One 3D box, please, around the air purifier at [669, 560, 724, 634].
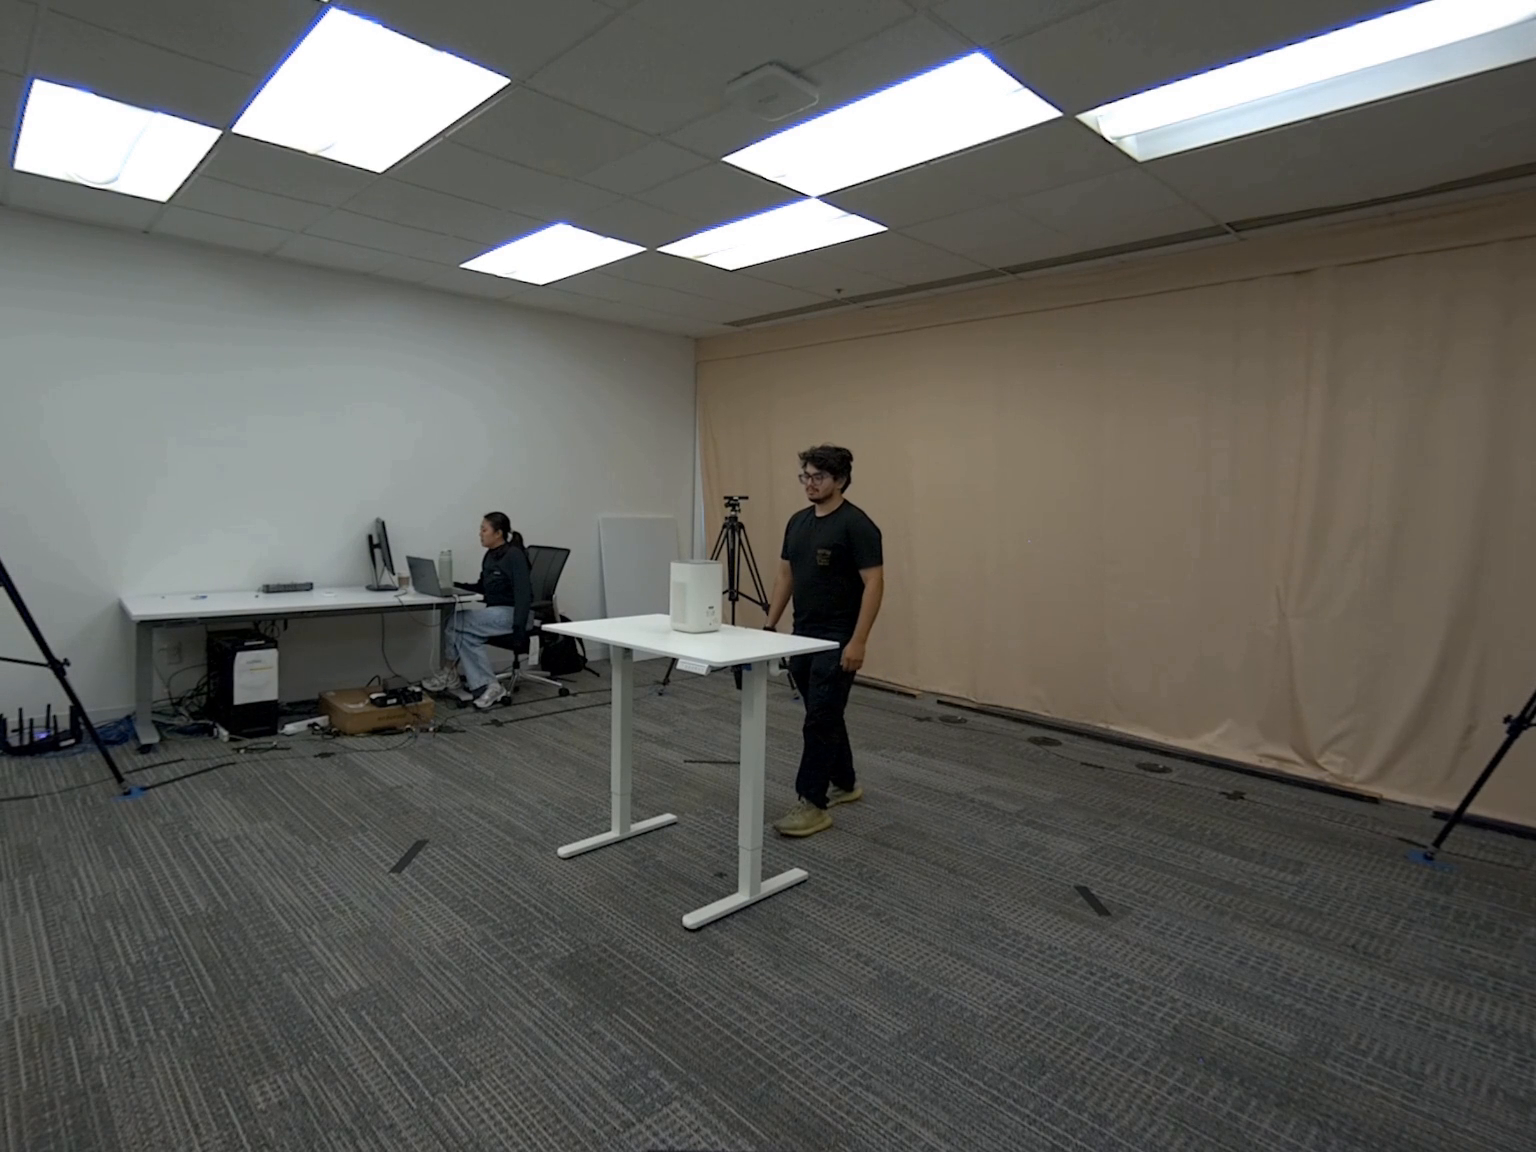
[{"bbox_3d":[-0.281,0.076,3.210,0.176,0.265,0.167,3,4,44],"label":"air purifier"}]
